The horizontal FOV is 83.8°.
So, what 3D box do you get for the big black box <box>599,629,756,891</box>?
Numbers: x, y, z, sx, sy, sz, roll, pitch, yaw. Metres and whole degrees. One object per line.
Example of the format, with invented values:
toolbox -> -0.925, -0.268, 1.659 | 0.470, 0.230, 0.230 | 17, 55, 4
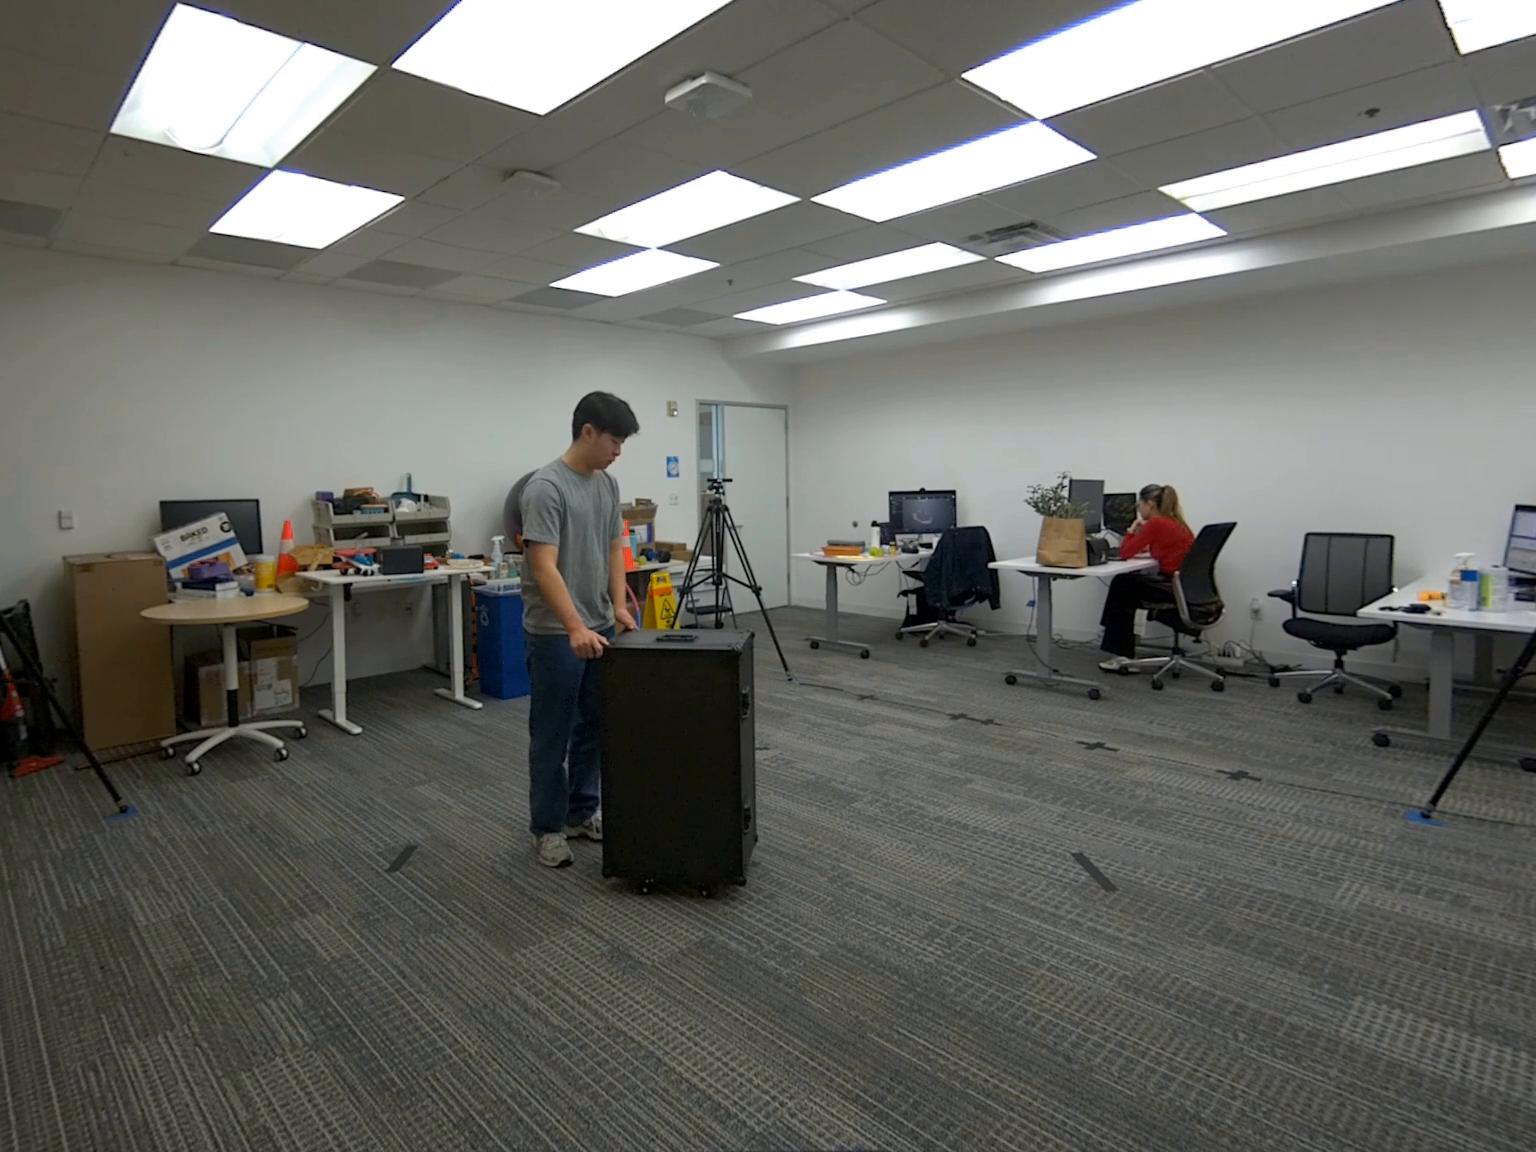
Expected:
big black box -> -0.302, 0.644, 2.987 | 0.526, 0.859, 0.394 | -1, 4, 8
